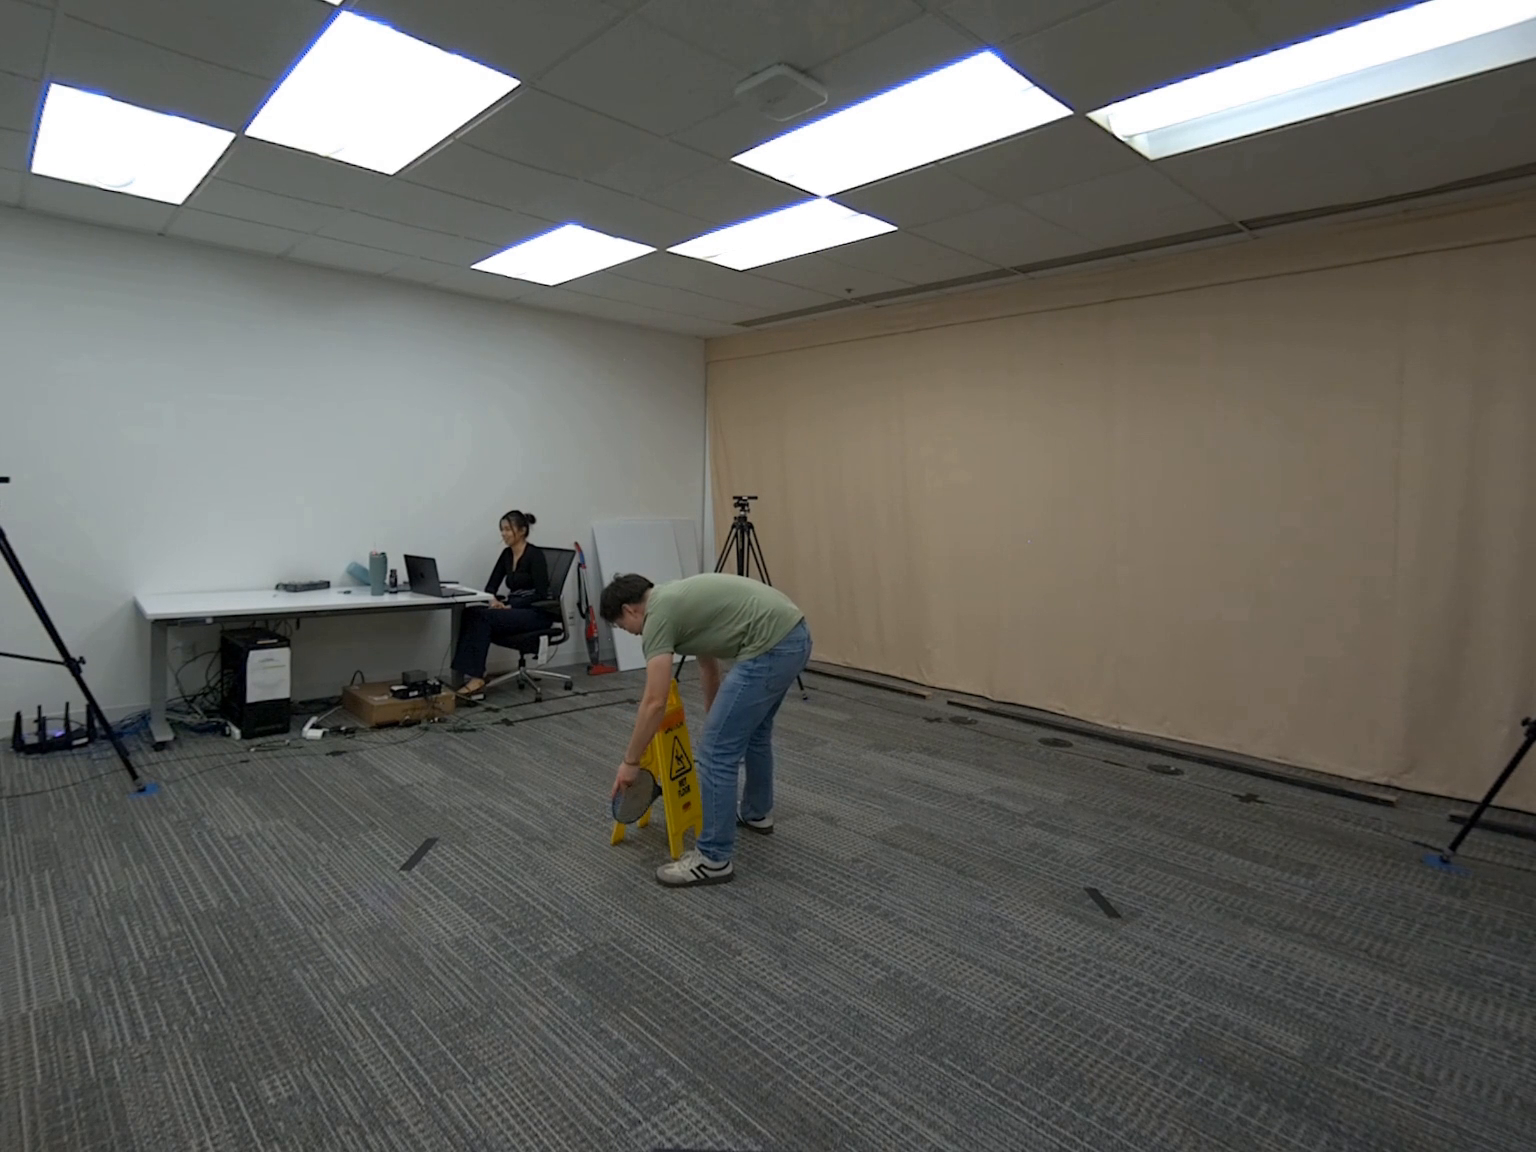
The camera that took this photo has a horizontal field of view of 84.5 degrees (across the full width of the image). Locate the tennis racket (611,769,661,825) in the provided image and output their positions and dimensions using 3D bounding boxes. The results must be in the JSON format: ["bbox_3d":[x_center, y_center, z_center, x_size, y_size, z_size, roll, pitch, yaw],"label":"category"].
[{"bbox_3d":[-0.461,0.860,3.302,0.032,0.215,0.422,2,-7,25],"label":"tennis racket"}]
